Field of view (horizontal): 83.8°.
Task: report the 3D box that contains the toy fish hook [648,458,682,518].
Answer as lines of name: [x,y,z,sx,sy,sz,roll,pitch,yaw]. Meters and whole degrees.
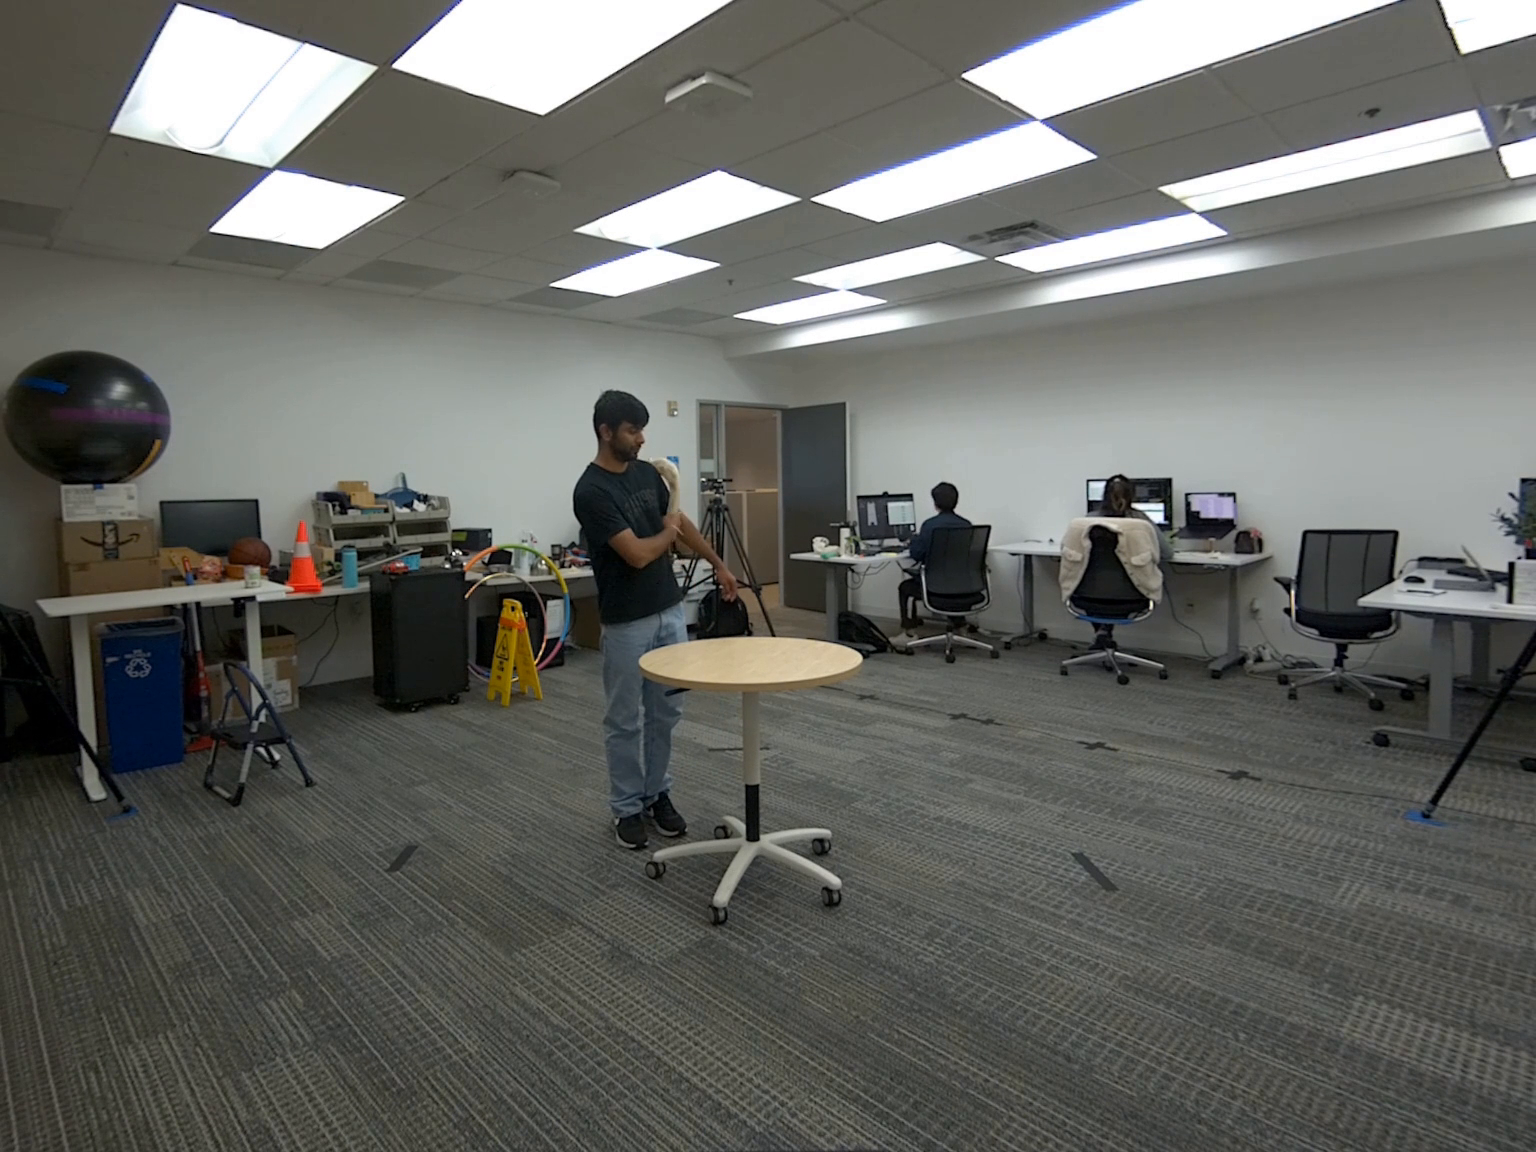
toy fish hook: [-0.460,-0.241,3.479,0.232,0.503,0.047,6,9,39]
